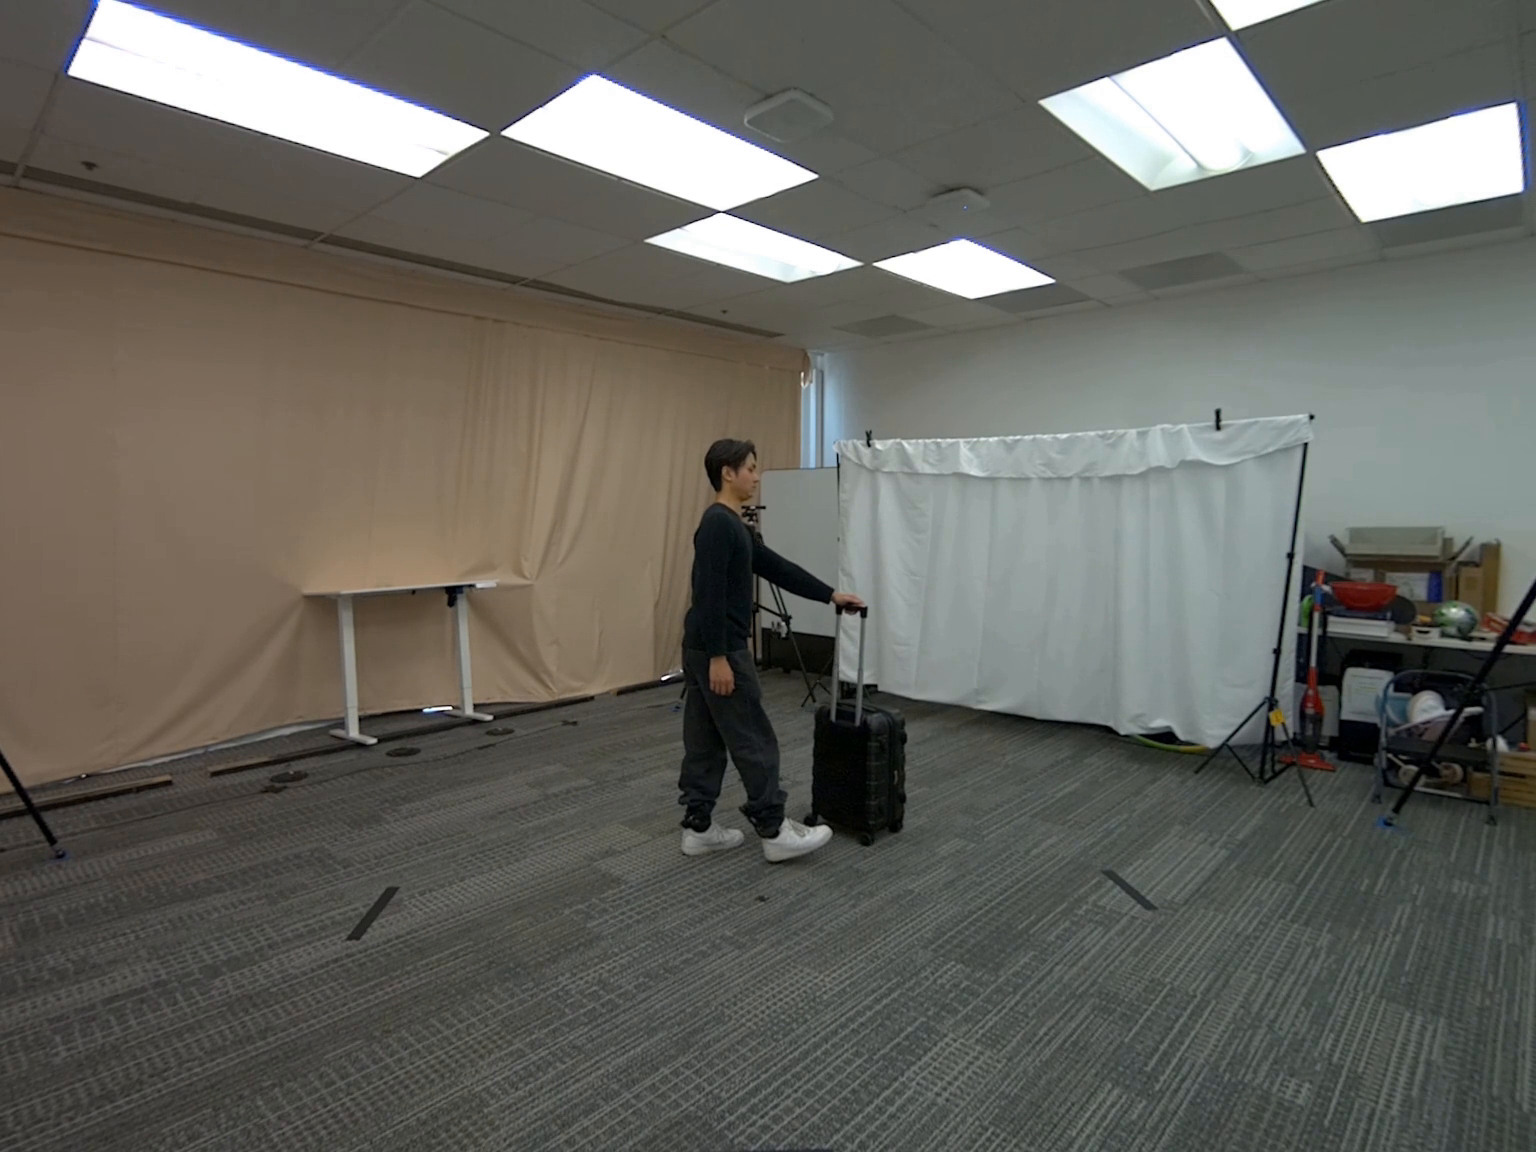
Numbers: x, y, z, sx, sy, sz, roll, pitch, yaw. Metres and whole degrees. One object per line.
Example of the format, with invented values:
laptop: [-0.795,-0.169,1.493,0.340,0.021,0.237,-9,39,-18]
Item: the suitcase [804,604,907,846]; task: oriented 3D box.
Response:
suitcase: [0.401,0.615,3.610,0.397,0.977,0.249,5,3,45]
